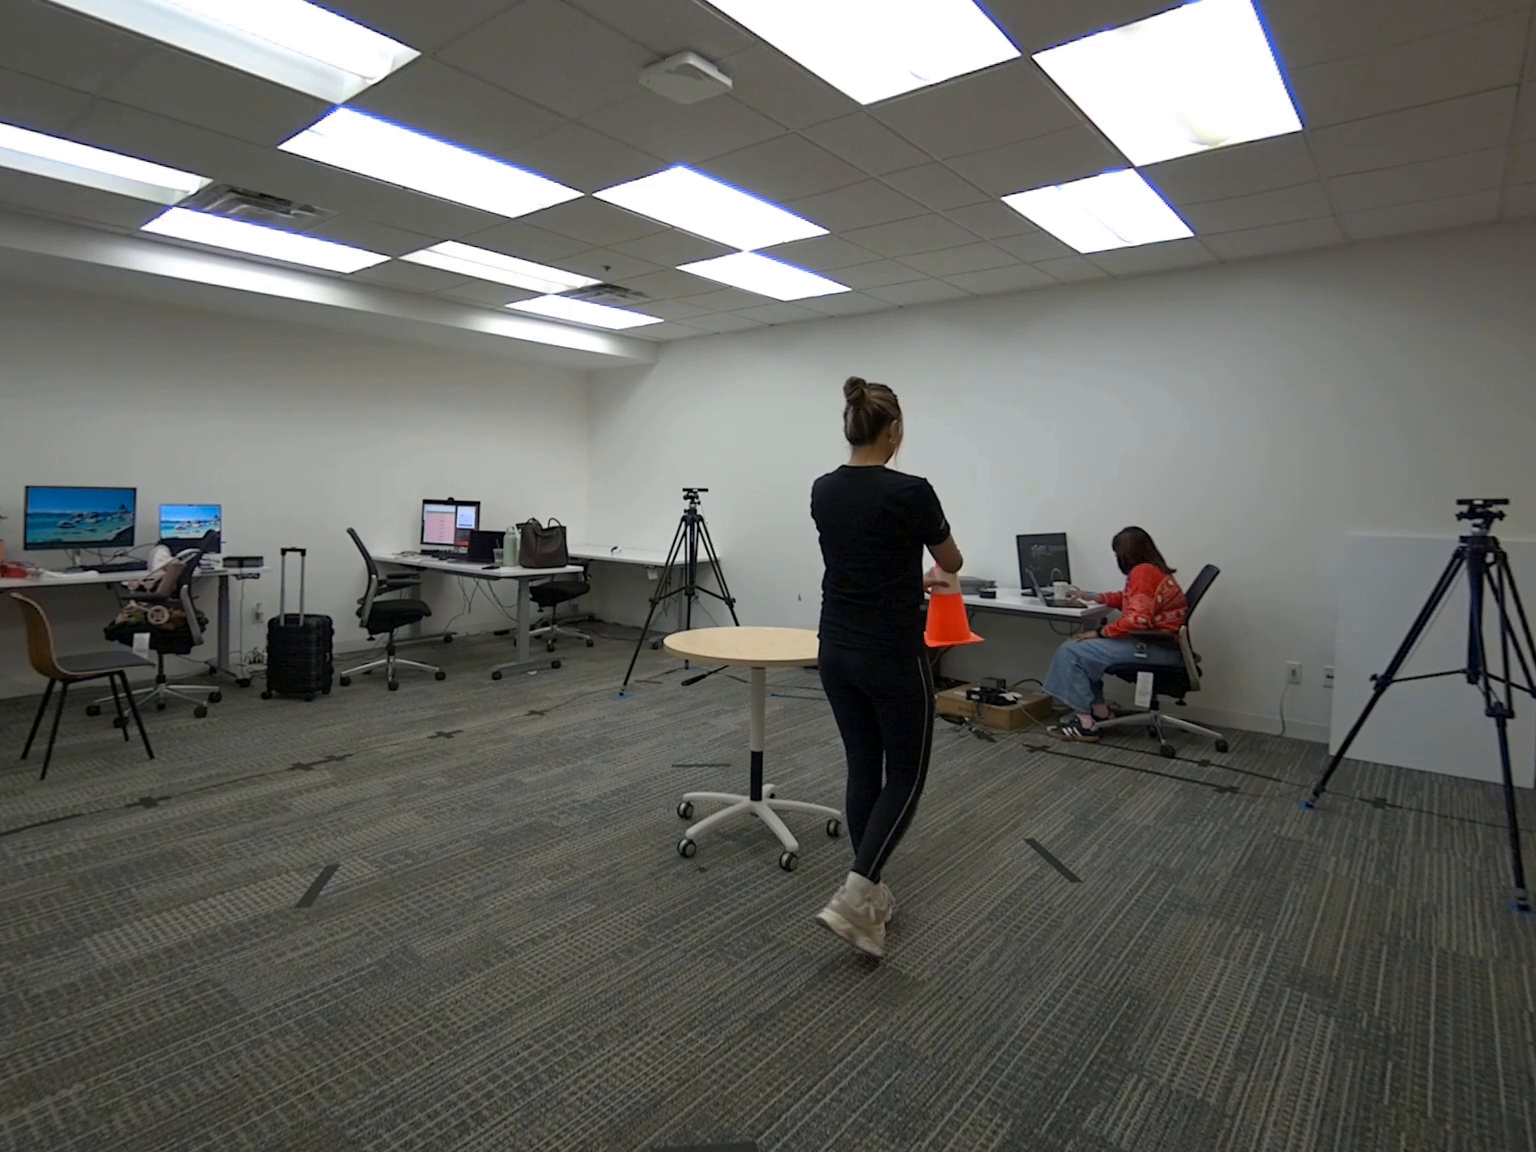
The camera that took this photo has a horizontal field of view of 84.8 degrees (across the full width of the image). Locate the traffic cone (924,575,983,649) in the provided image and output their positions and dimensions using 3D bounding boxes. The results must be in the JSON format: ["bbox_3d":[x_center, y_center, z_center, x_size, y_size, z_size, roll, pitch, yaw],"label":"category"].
[{"bbox_3d":[0.627,0.036,3.042,0.203,0.381,0.206,-3,8,-8],"label":"traffic cone"}]
